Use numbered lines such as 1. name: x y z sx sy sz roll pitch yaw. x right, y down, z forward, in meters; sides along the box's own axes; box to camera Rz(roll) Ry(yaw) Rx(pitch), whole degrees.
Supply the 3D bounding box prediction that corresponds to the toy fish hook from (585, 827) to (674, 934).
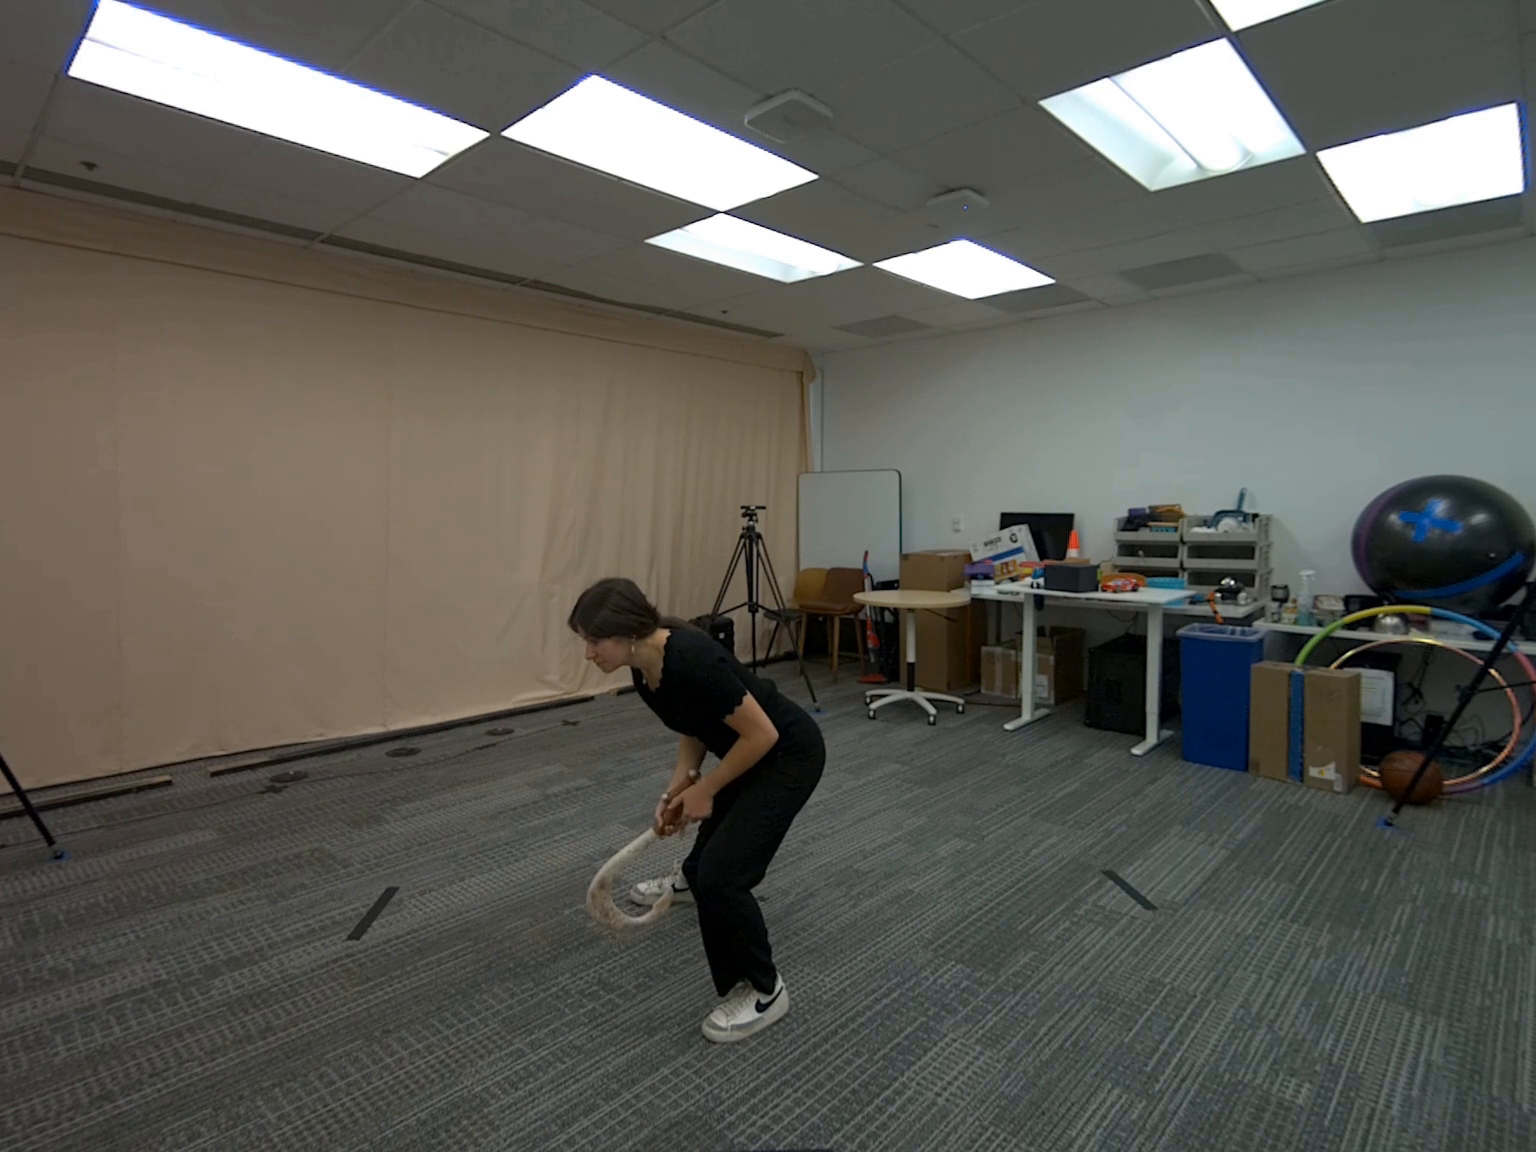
1. toy fish hook: -0.306 0.777 2.353 0.221 0.506 0.049 35 0 -12
